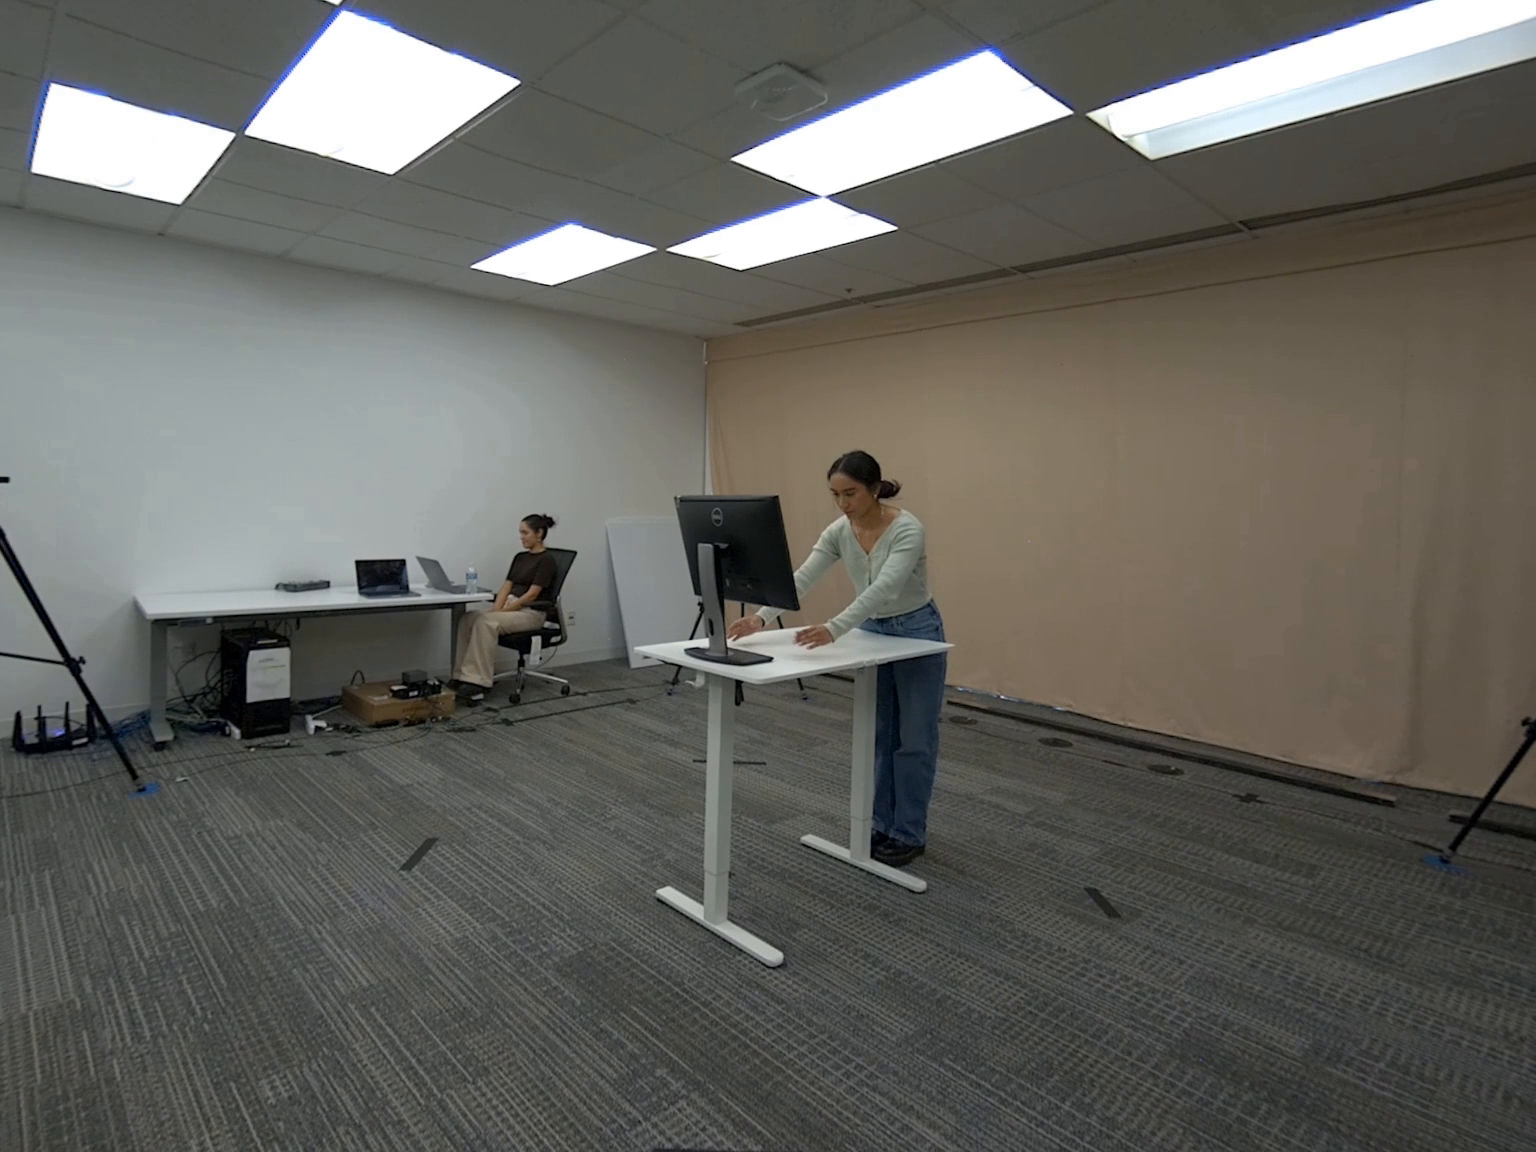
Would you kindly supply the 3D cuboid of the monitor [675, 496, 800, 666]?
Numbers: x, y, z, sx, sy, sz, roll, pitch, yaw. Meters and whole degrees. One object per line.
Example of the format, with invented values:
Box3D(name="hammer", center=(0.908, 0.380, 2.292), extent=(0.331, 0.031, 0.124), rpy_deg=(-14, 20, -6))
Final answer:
Box3D(name="monitor", center=(-0.135, 0.011, 2.632), extent=(0.183, 0.521, 0.553), rpy_deg=(-4, 6, -41))
